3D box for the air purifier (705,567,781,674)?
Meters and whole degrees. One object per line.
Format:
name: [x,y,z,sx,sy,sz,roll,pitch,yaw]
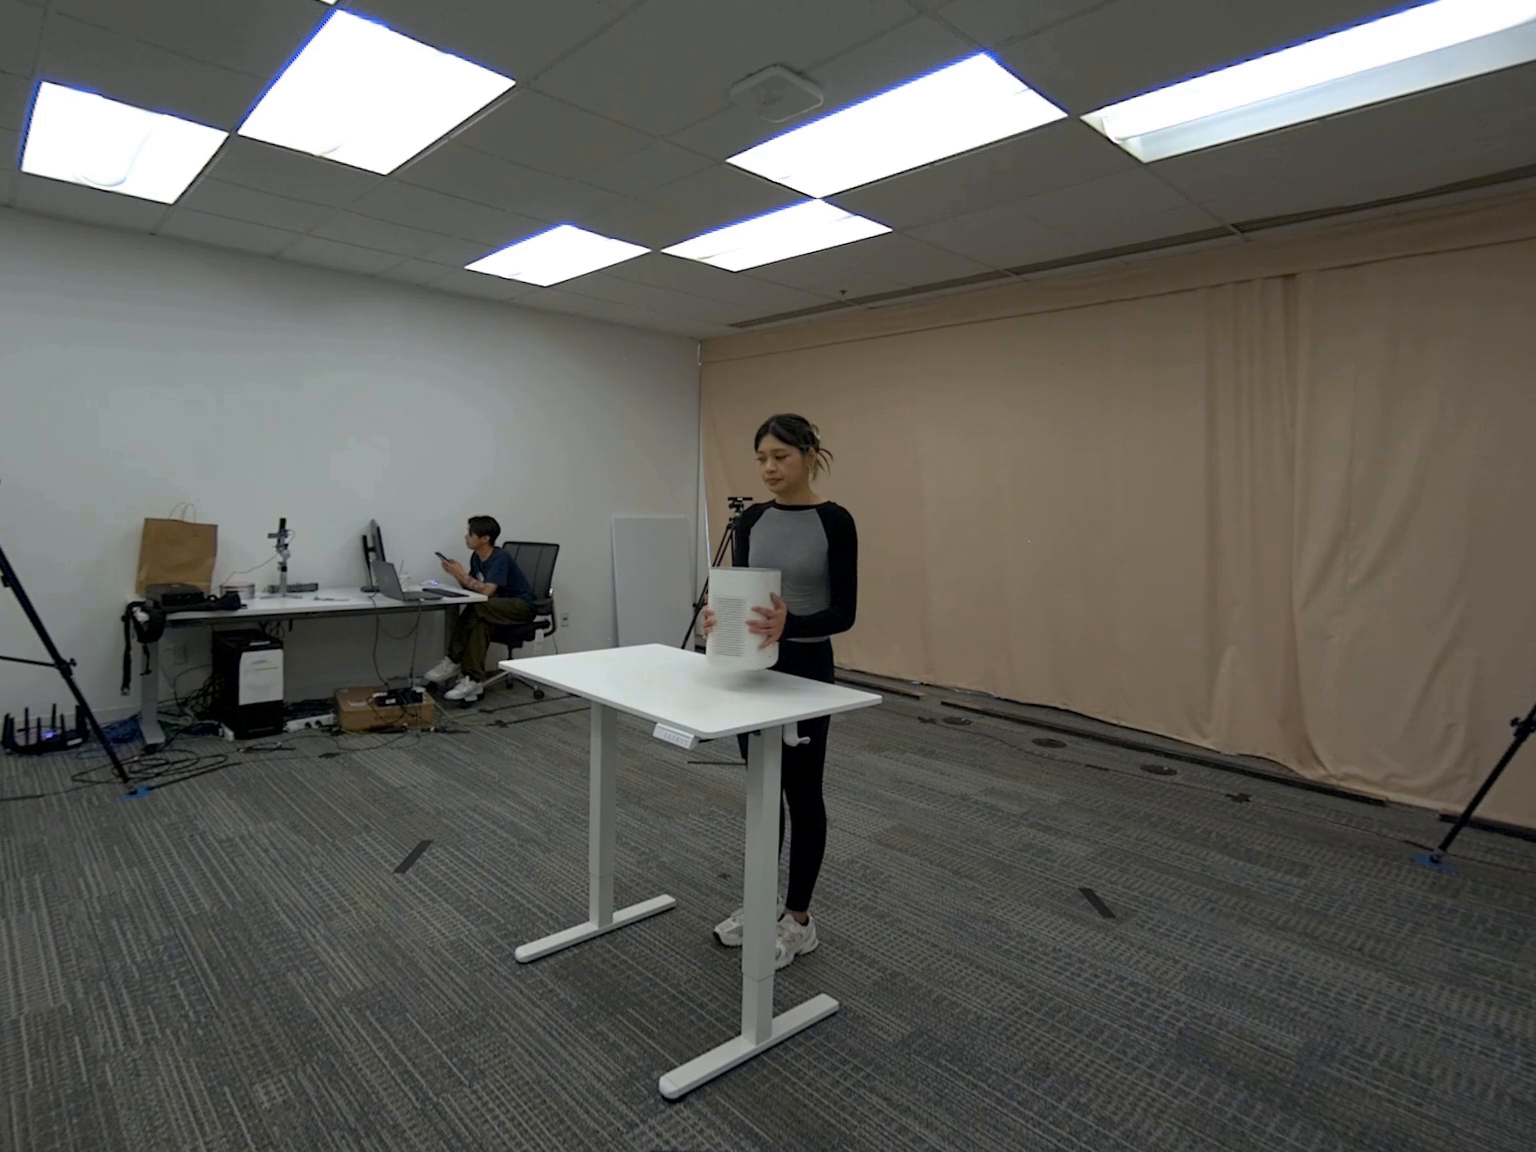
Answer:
air purifier: [-0.077,0.116,2.263,0.175,0.266,0.168,2,-1,23]
